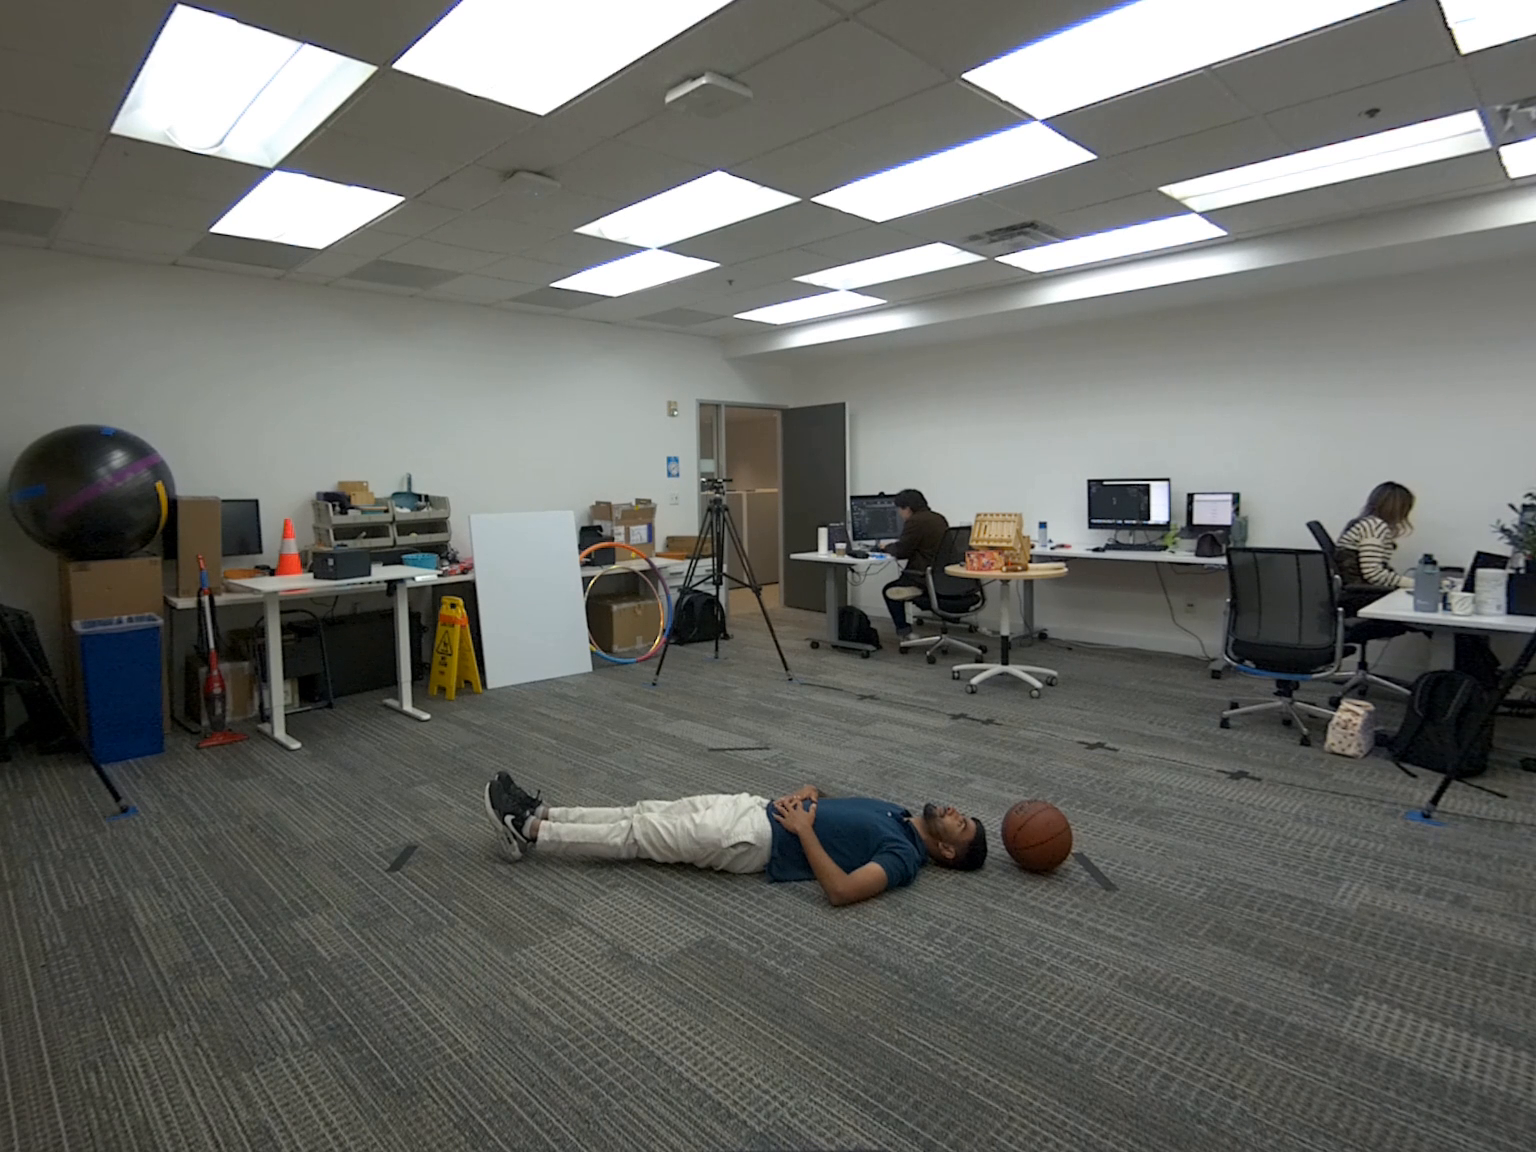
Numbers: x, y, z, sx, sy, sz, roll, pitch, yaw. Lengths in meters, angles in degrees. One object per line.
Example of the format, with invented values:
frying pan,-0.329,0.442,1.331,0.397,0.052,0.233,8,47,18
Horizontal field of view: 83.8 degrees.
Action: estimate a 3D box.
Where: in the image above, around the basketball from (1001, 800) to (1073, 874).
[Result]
basketball,0.959,0.917,3.025,0.236,0.235,0.237,-1,5,-2
